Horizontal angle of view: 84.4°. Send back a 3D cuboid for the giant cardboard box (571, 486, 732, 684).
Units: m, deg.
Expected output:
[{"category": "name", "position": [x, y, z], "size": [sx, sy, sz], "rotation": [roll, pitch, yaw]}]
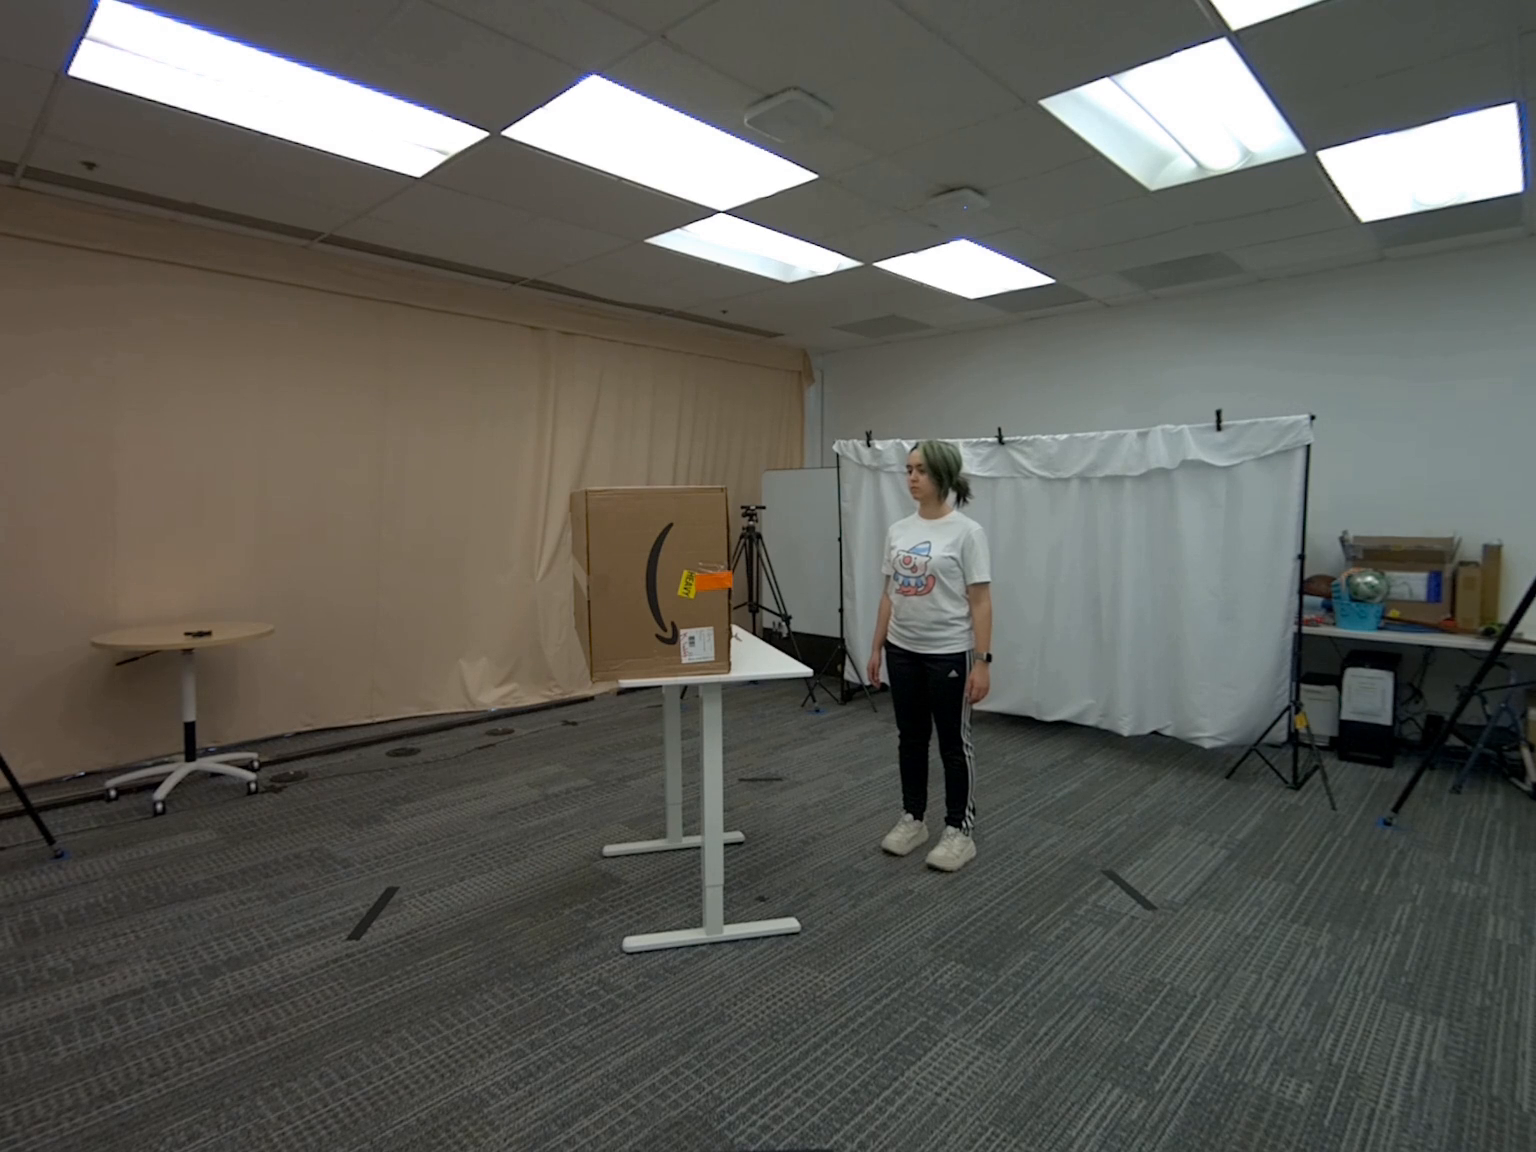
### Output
[{"category": "giant cardboard box", "position": [-0.448, -0.022, 2.996], "size": [0.440, 0.582, 1.045], "rotation": [-2, 5, -15]}]
